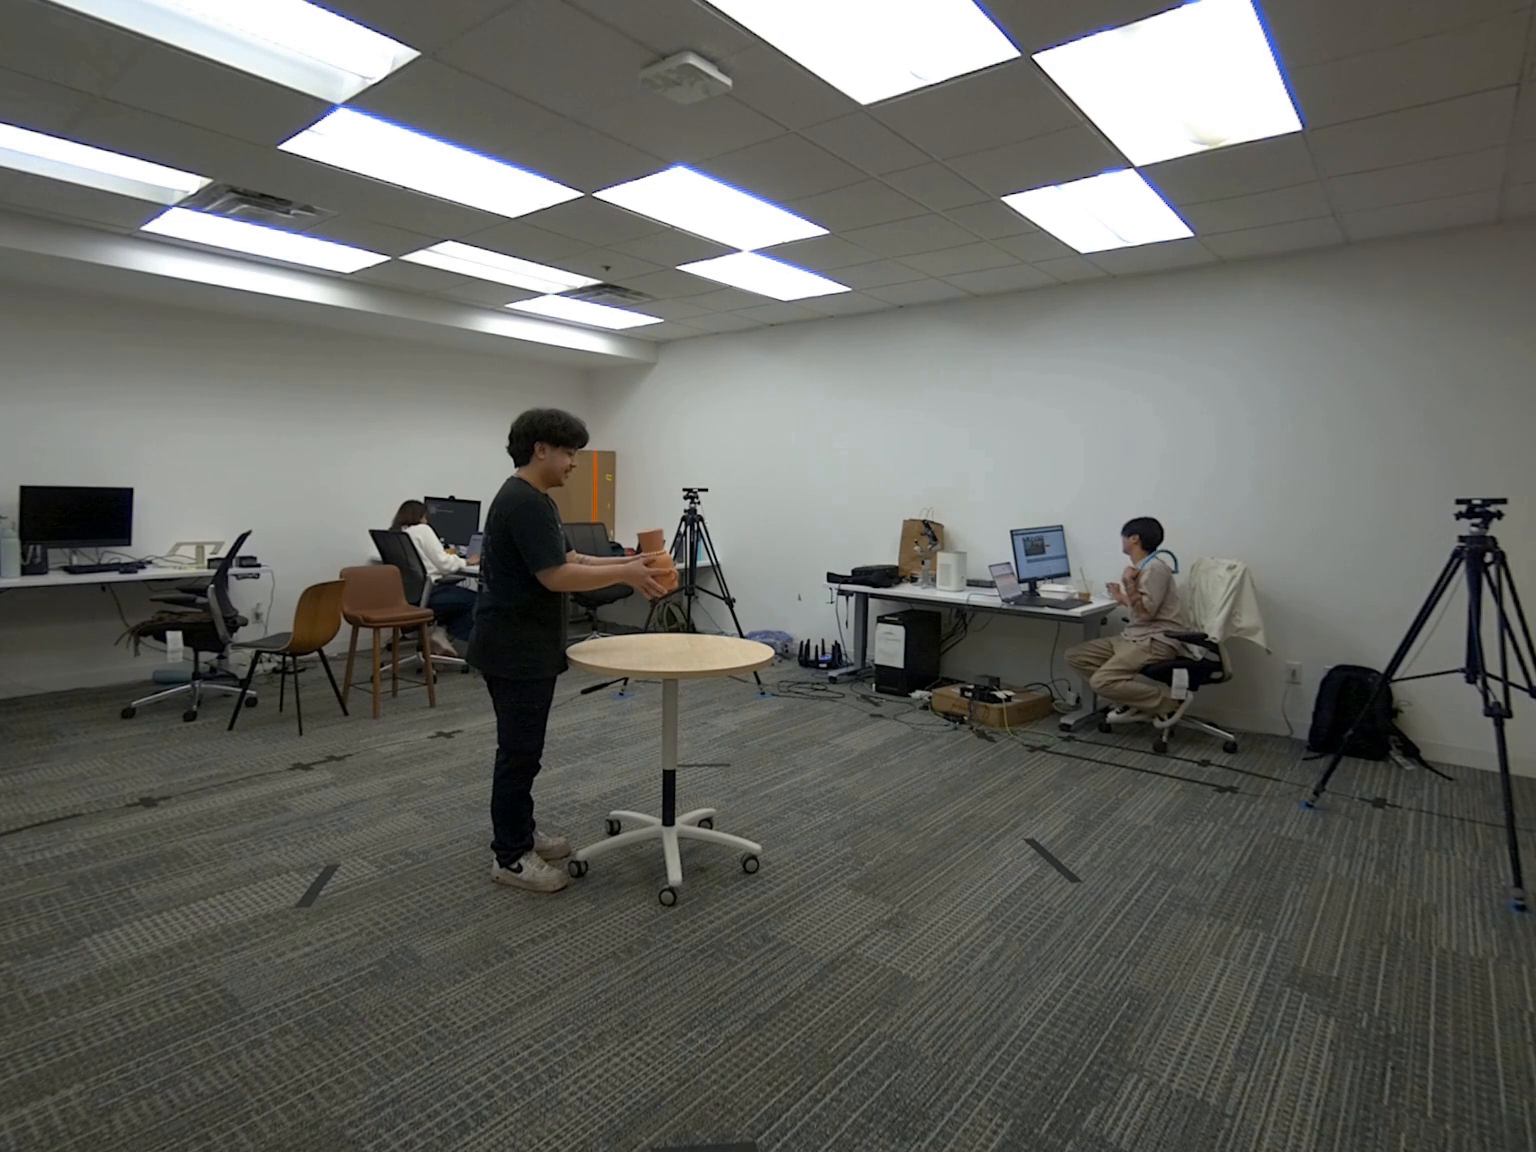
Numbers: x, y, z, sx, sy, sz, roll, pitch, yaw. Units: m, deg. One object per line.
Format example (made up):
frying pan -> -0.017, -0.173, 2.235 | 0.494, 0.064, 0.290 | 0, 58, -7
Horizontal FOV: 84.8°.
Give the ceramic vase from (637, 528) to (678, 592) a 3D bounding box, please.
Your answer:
ceramic vase -> -0.436, -0.054, 3.092 | 0.158, 0.218, 0.136 | -10, 6, -3
